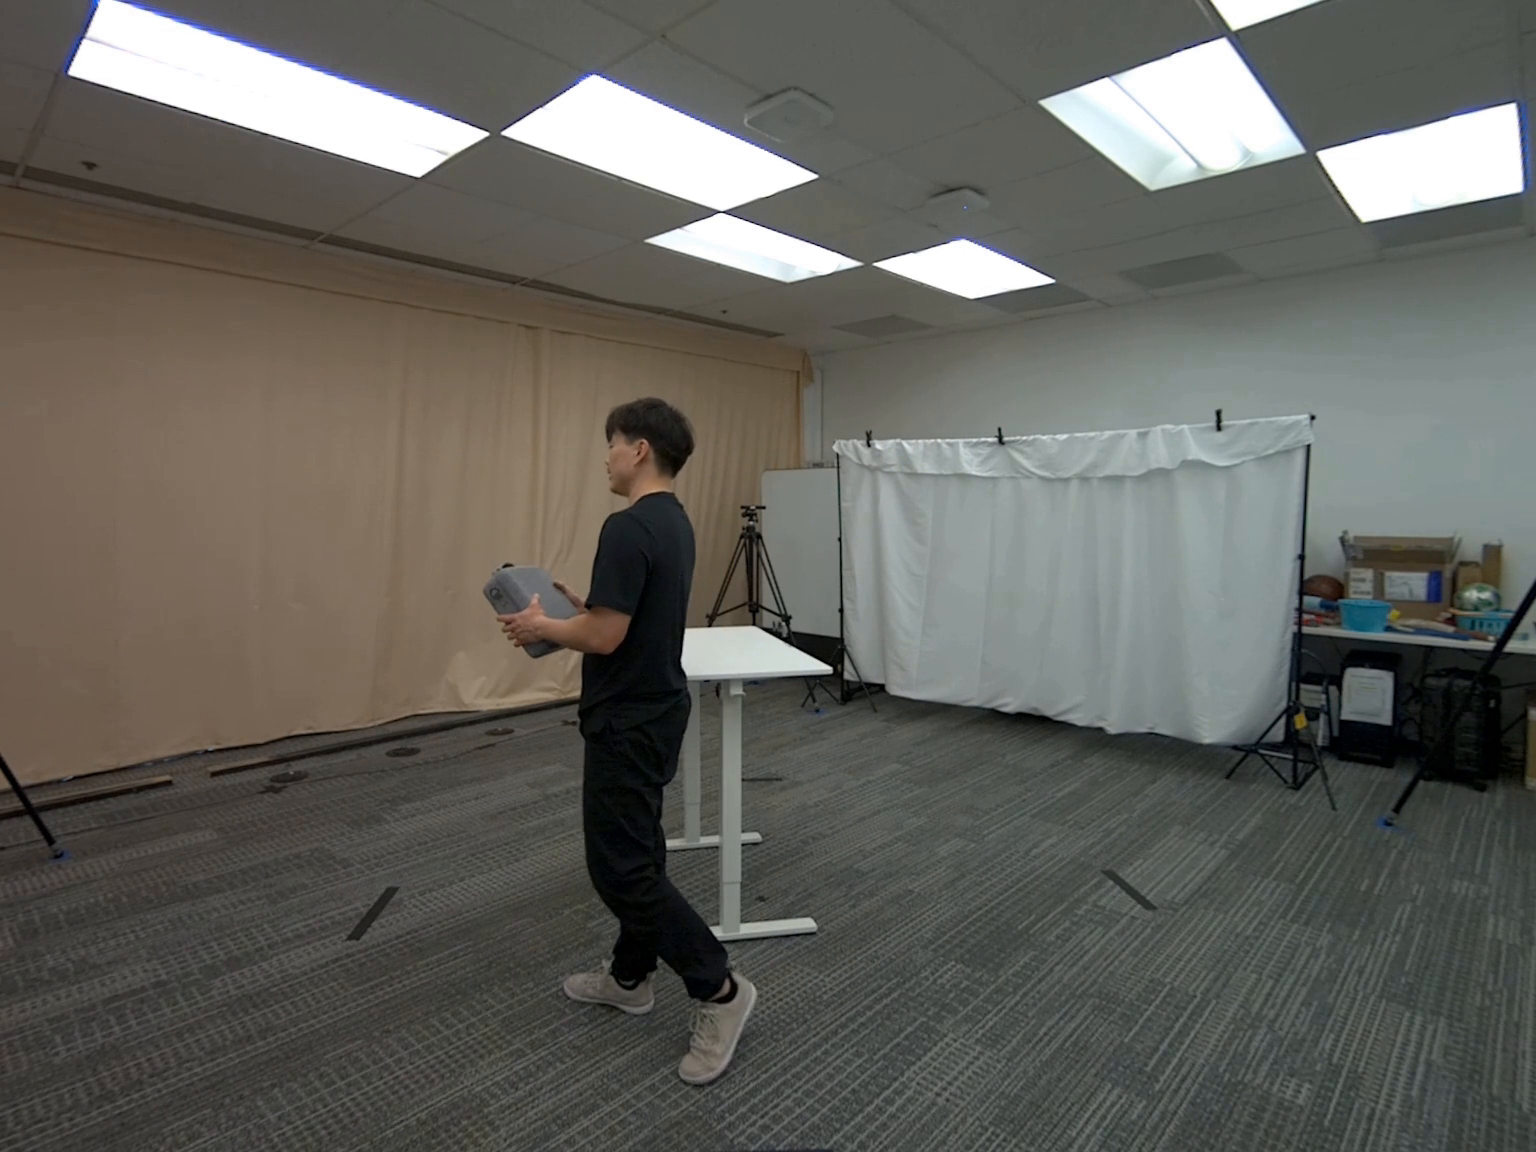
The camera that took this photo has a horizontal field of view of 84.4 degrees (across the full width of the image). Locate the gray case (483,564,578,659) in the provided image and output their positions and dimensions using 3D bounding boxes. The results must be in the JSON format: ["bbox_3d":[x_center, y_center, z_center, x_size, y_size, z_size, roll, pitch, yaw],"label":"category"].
[{"bbox_3d":[-0.639,0.095,2.348,0.105,0.263,0.254,-40,-7,8],"label":"gray case"}]
